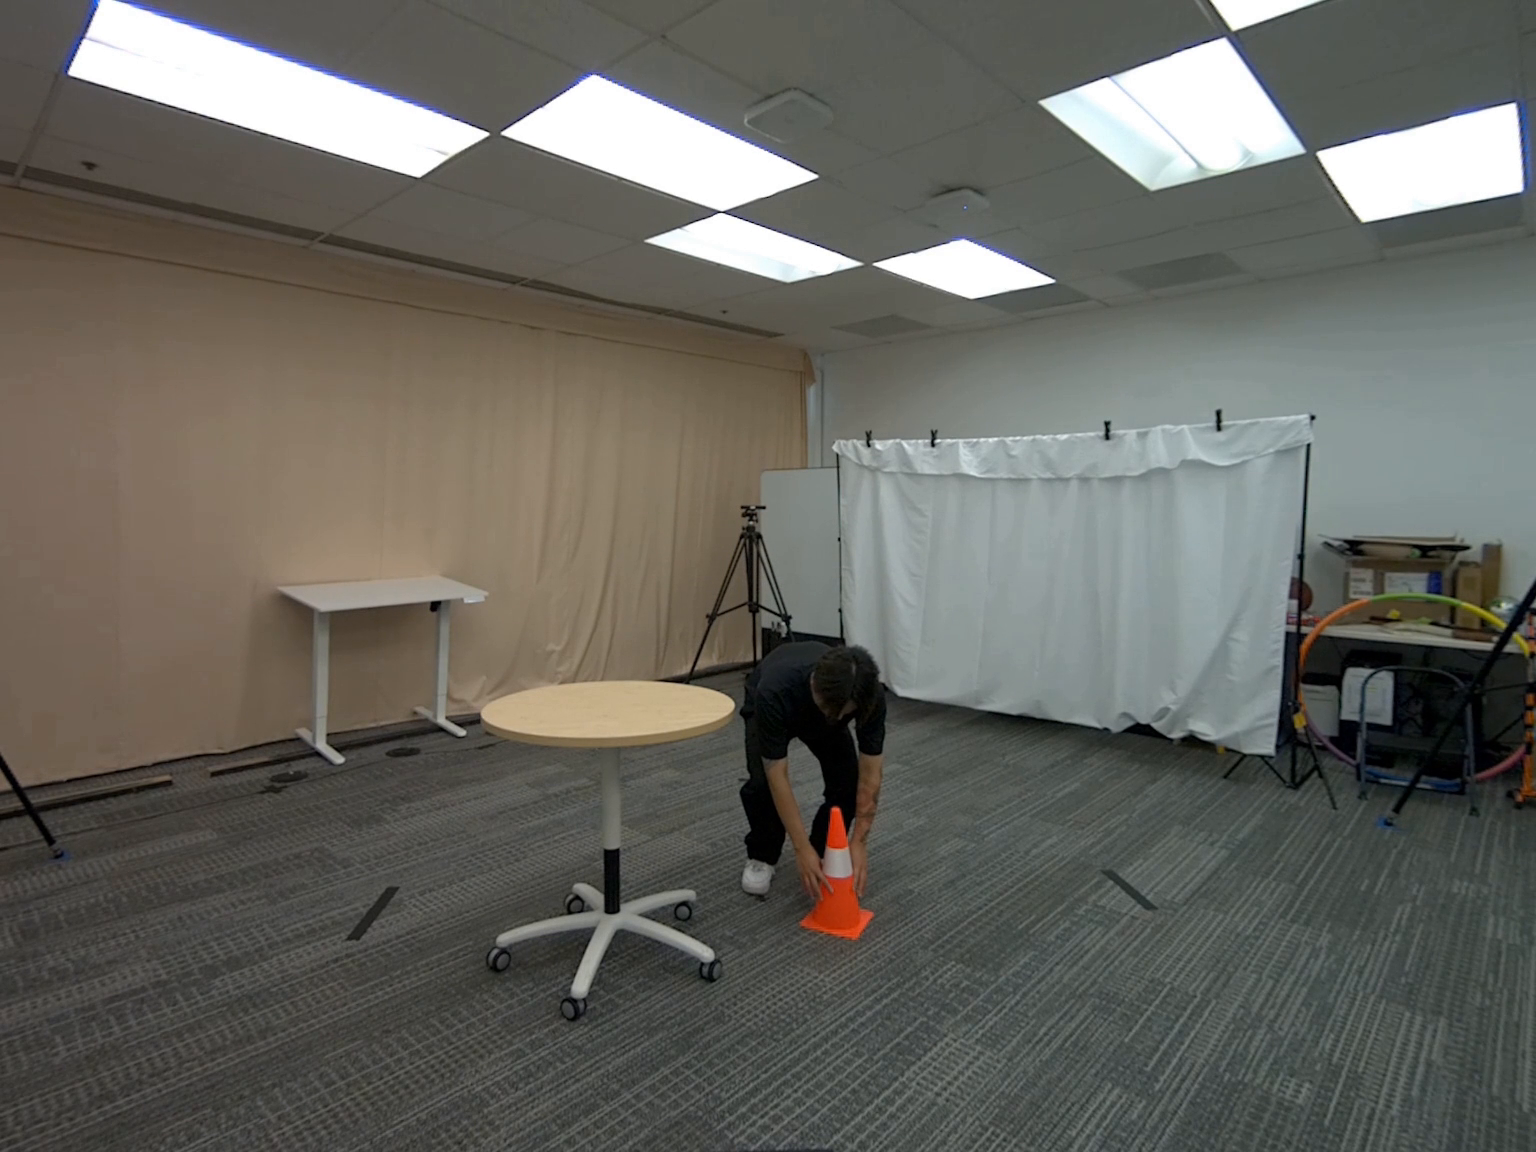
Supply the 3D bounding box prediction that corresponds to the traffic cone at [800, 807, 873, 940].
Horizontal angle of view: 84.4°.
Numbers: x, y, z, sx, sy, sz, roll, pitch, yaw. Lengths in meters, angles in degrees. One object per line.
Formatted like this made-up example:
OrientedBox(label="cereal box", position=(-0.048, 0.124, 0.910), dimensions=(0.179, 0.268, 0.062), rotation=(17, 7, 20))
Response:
OrientedBox(label="traffic cone", position=(0.228, 0.969, 2.823), dimensions=(0.209, 0.383, 0.199), rotation=(1, 3, 32))
